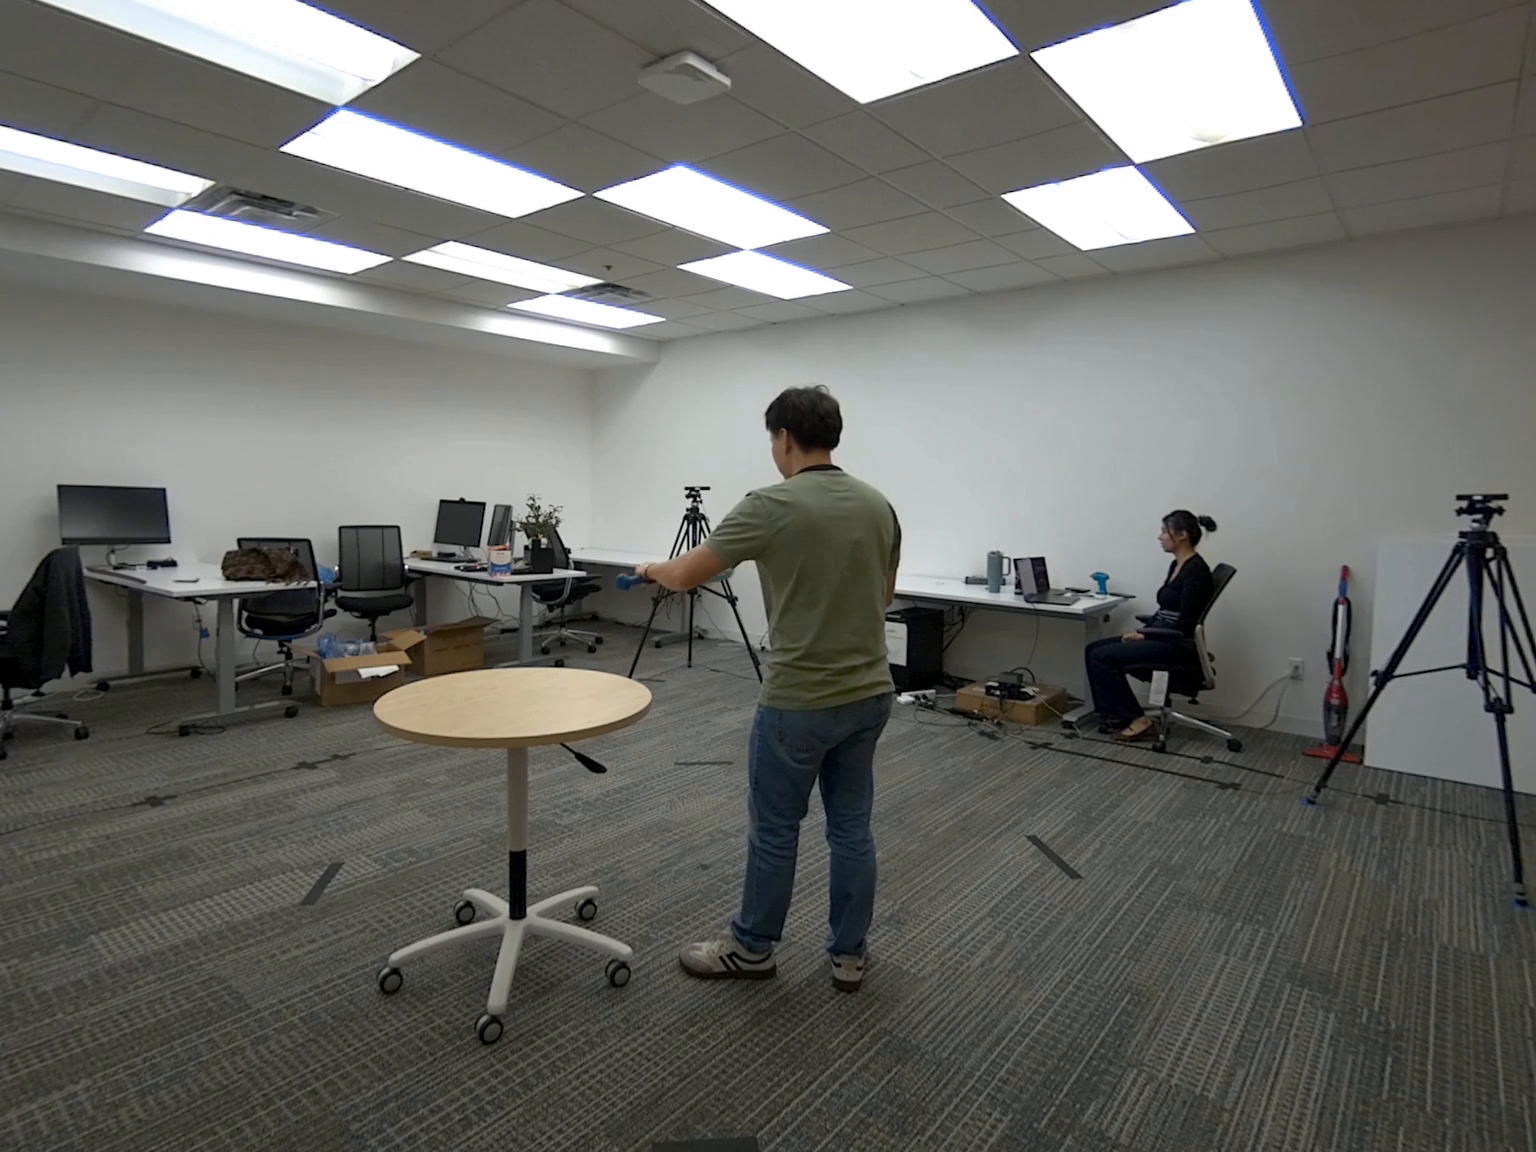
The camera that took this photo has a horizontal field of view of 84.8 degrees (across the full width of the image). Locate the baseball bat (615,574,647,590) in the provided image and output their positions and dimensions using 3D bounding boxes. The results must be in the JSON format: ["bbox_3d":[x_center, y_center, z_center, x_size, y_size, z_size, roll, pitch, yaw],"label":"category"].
[{"bbox_3d":[-0.298,-0.002,2.642,0.092,0.088,0.529,3,8,32],"label":"baseball bat"}]
